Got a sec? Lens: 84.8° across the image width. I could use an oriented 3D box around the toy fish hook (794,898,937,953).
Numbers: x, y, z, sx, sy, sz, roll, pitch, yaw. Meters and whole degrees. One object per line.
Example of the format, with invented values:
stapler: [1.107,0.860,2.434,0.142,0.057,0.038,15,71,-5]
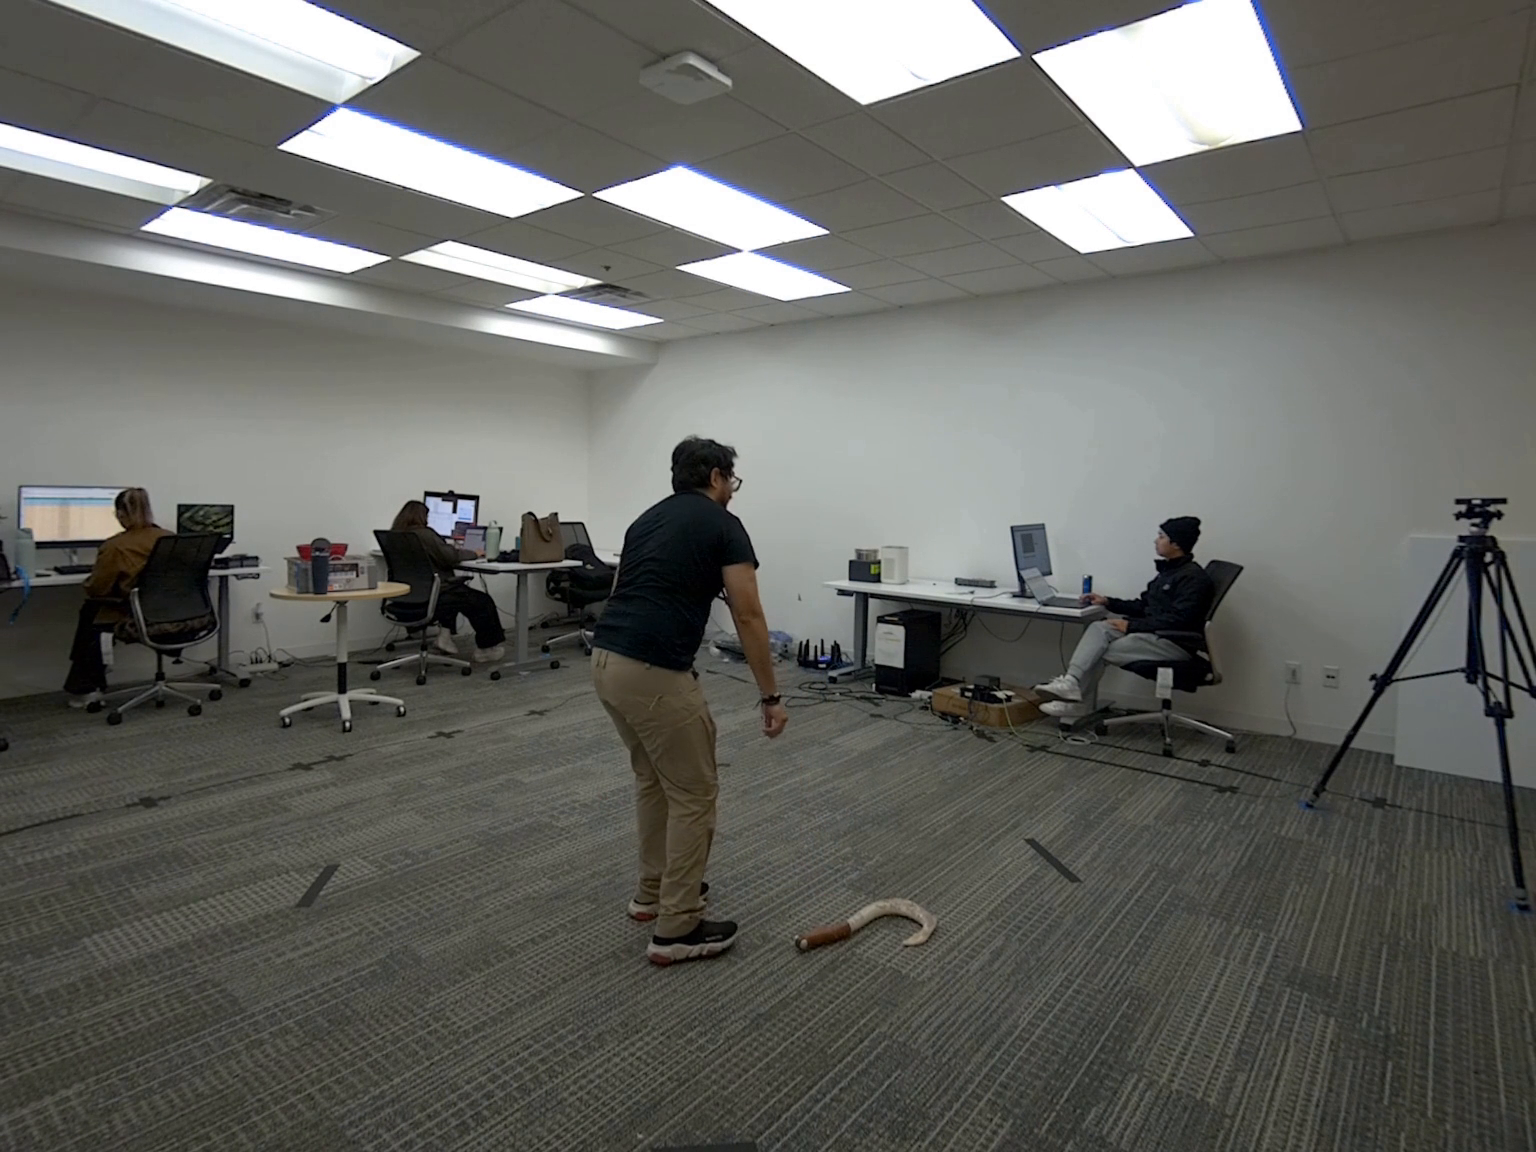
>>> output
toy fish hook: [0.317,1.110,2.656,0.492,0.048,0.232,-3,7,-34]
